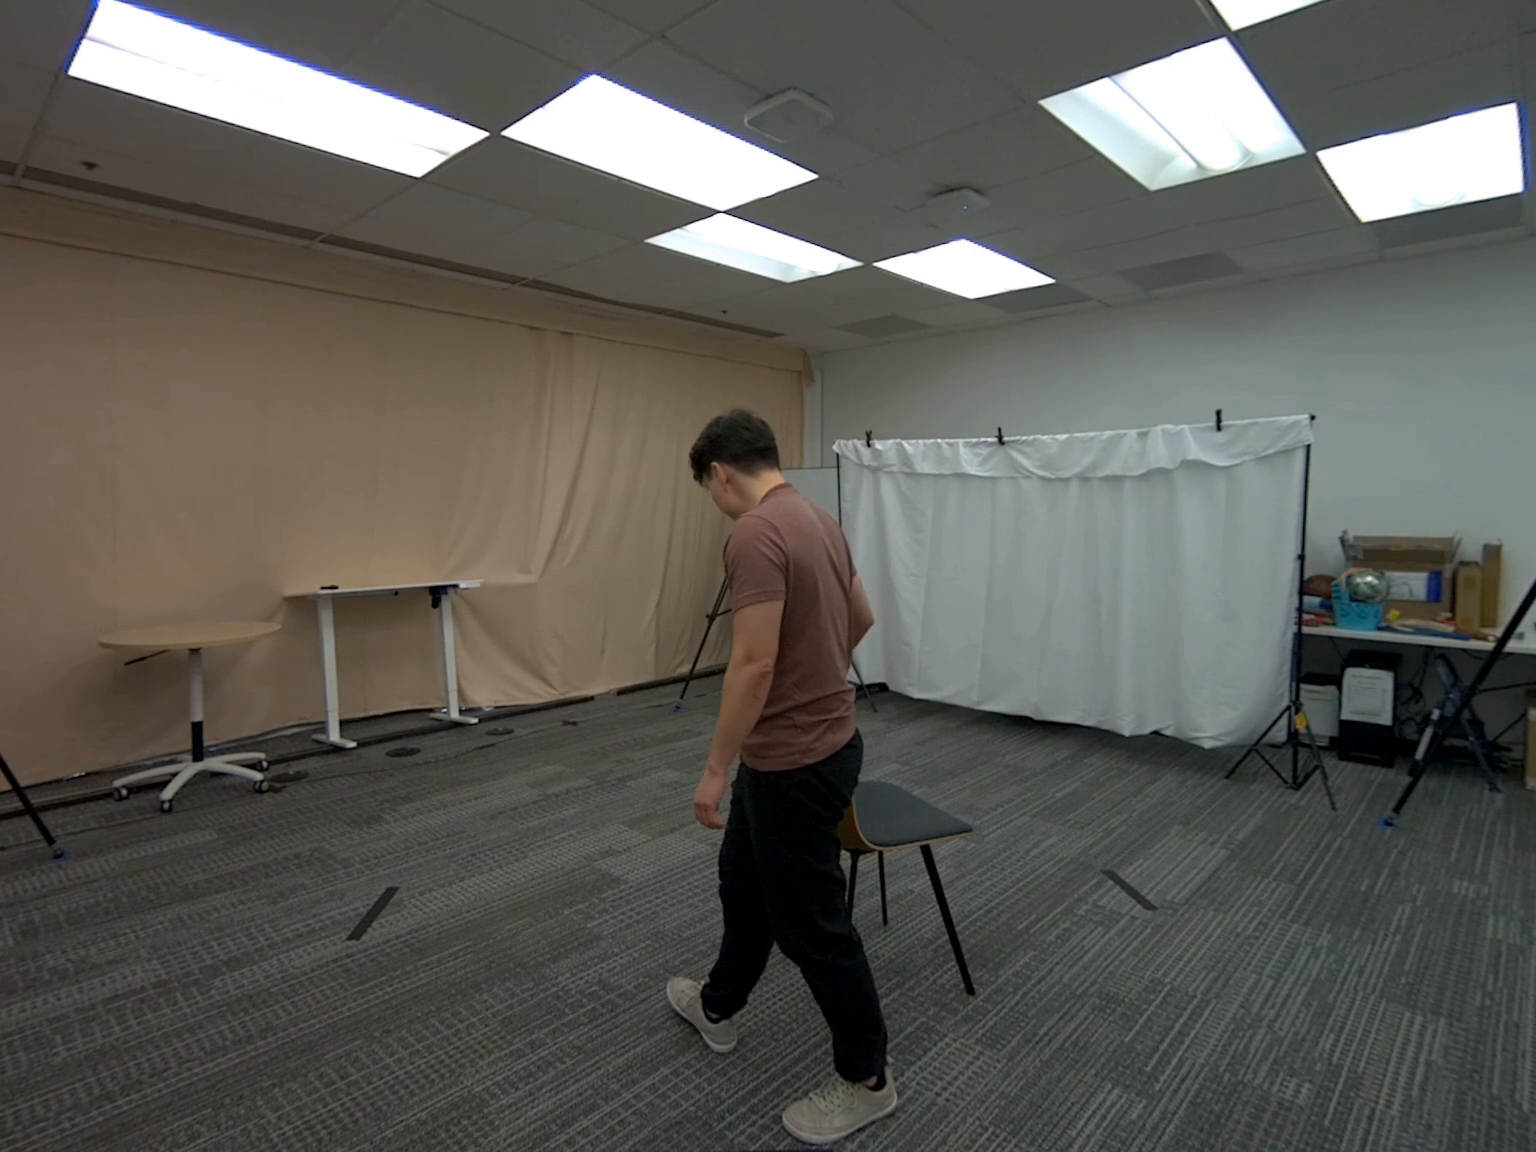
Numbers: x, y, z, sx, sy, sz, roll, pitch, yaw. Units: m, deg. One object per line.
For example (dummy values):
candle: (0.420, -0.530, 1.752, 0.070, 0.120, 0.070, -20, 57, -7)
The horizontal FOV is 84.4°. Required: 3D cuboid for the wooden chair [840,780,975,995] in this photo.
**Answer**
wooden chair: (0.301, 0.760, 2.494, 0.512, 0.875, 0.490, -6, 5, -24)
